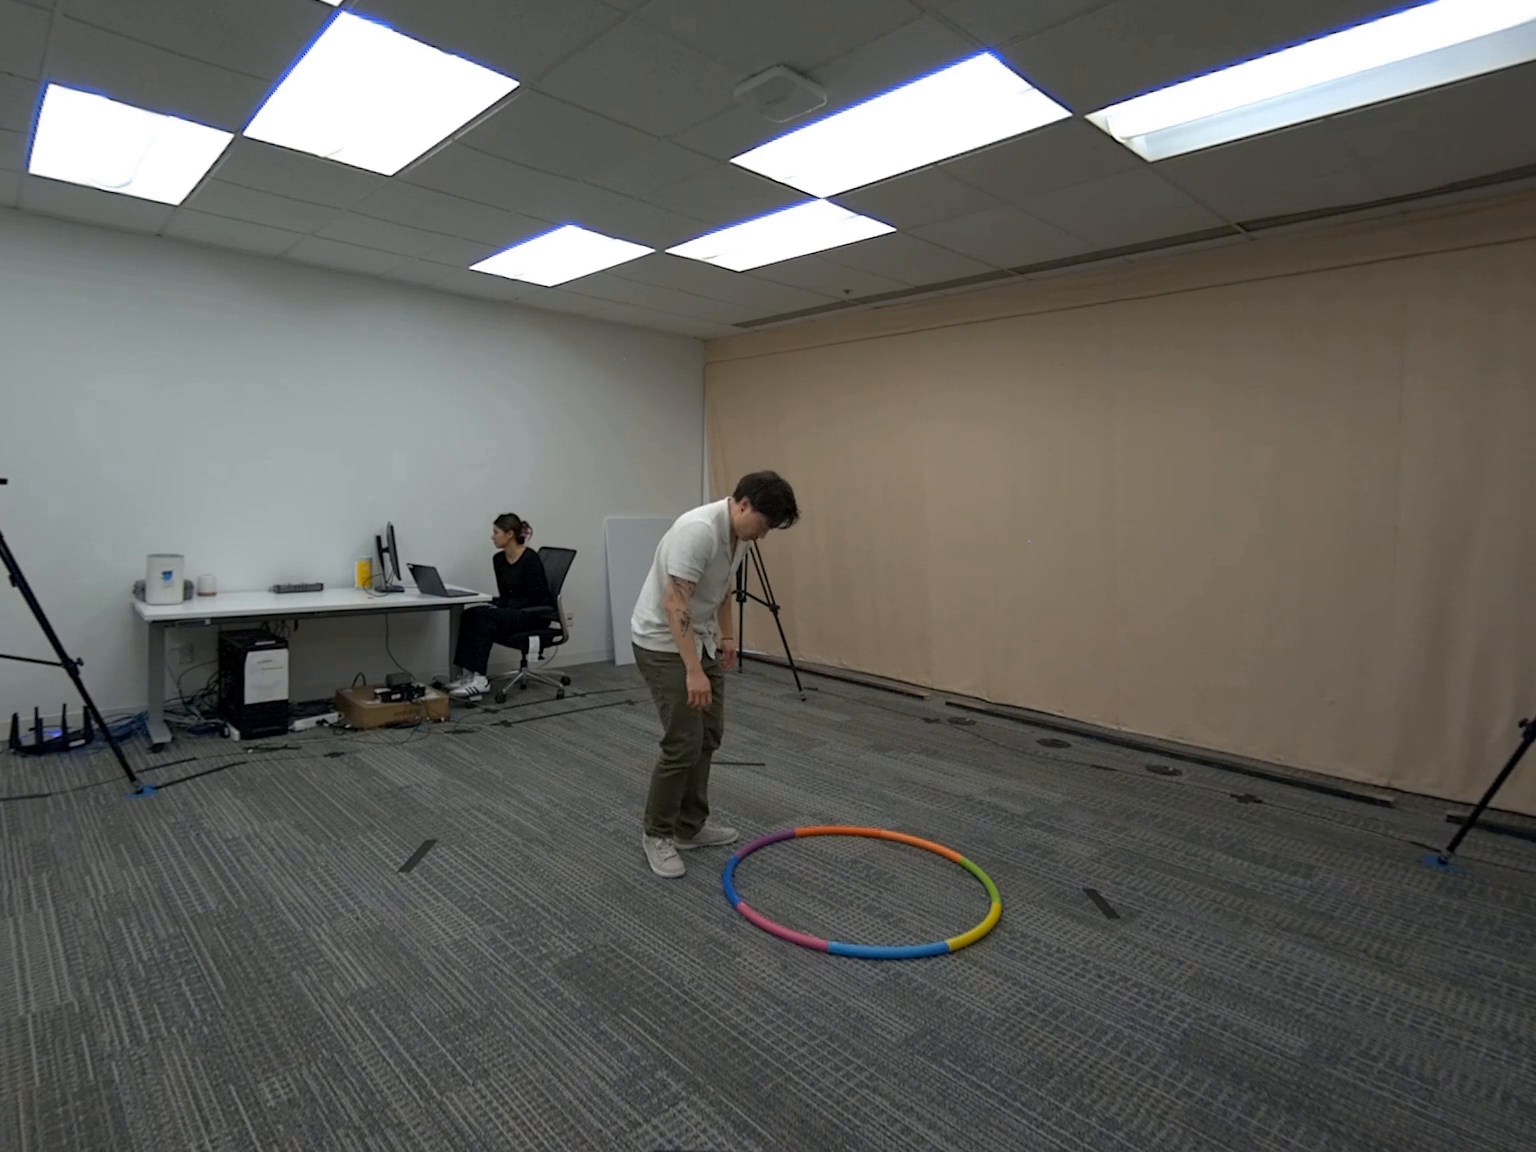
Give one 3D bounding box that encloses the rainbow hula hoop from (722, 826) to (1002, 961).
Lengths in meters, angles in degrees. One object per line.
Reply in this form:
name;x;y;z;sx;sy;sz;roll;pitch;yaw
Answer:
rainbow hula hoop;0.315;1.092;3.045;0.978;0.035;0.982;1;5;-1
